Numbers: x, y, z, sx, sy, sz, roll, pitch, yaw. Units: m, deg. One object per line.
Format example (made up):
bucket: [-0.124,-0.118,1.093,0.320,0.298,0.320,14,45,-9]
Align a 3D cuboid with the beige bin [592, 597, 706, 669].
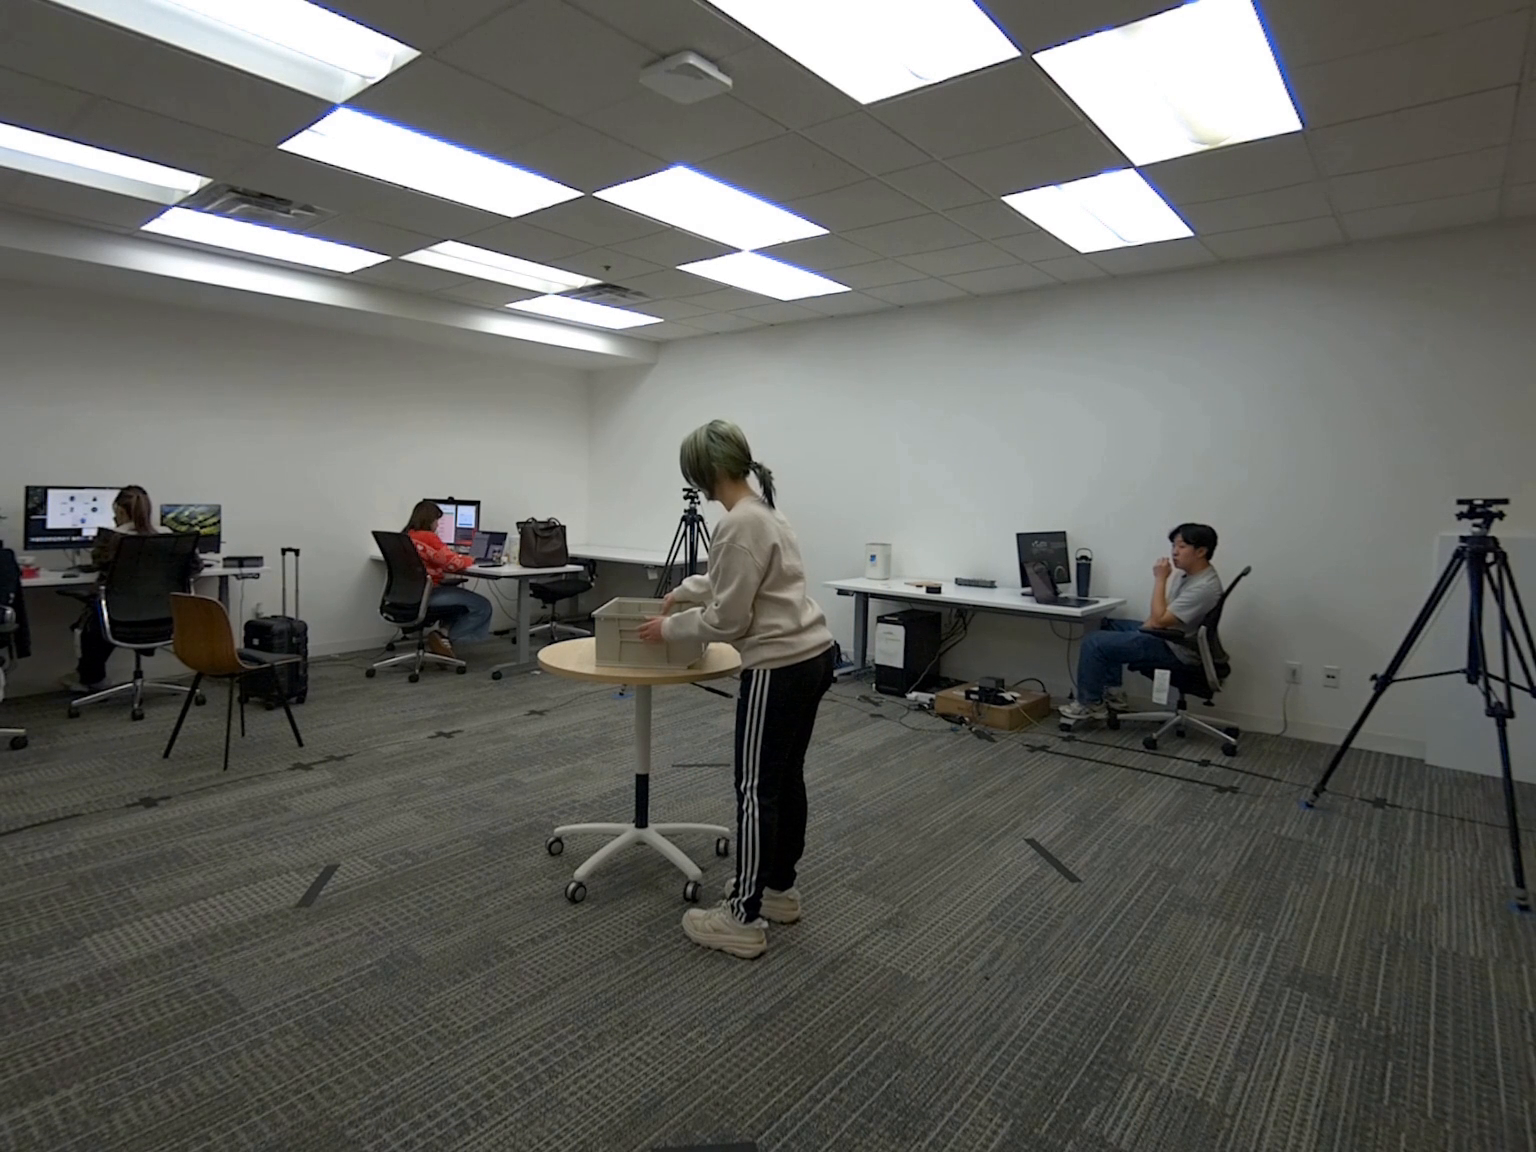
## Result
beige bin: [-0.418,0.197,3.053,0.378,0.188,0.424,0,6,0]
